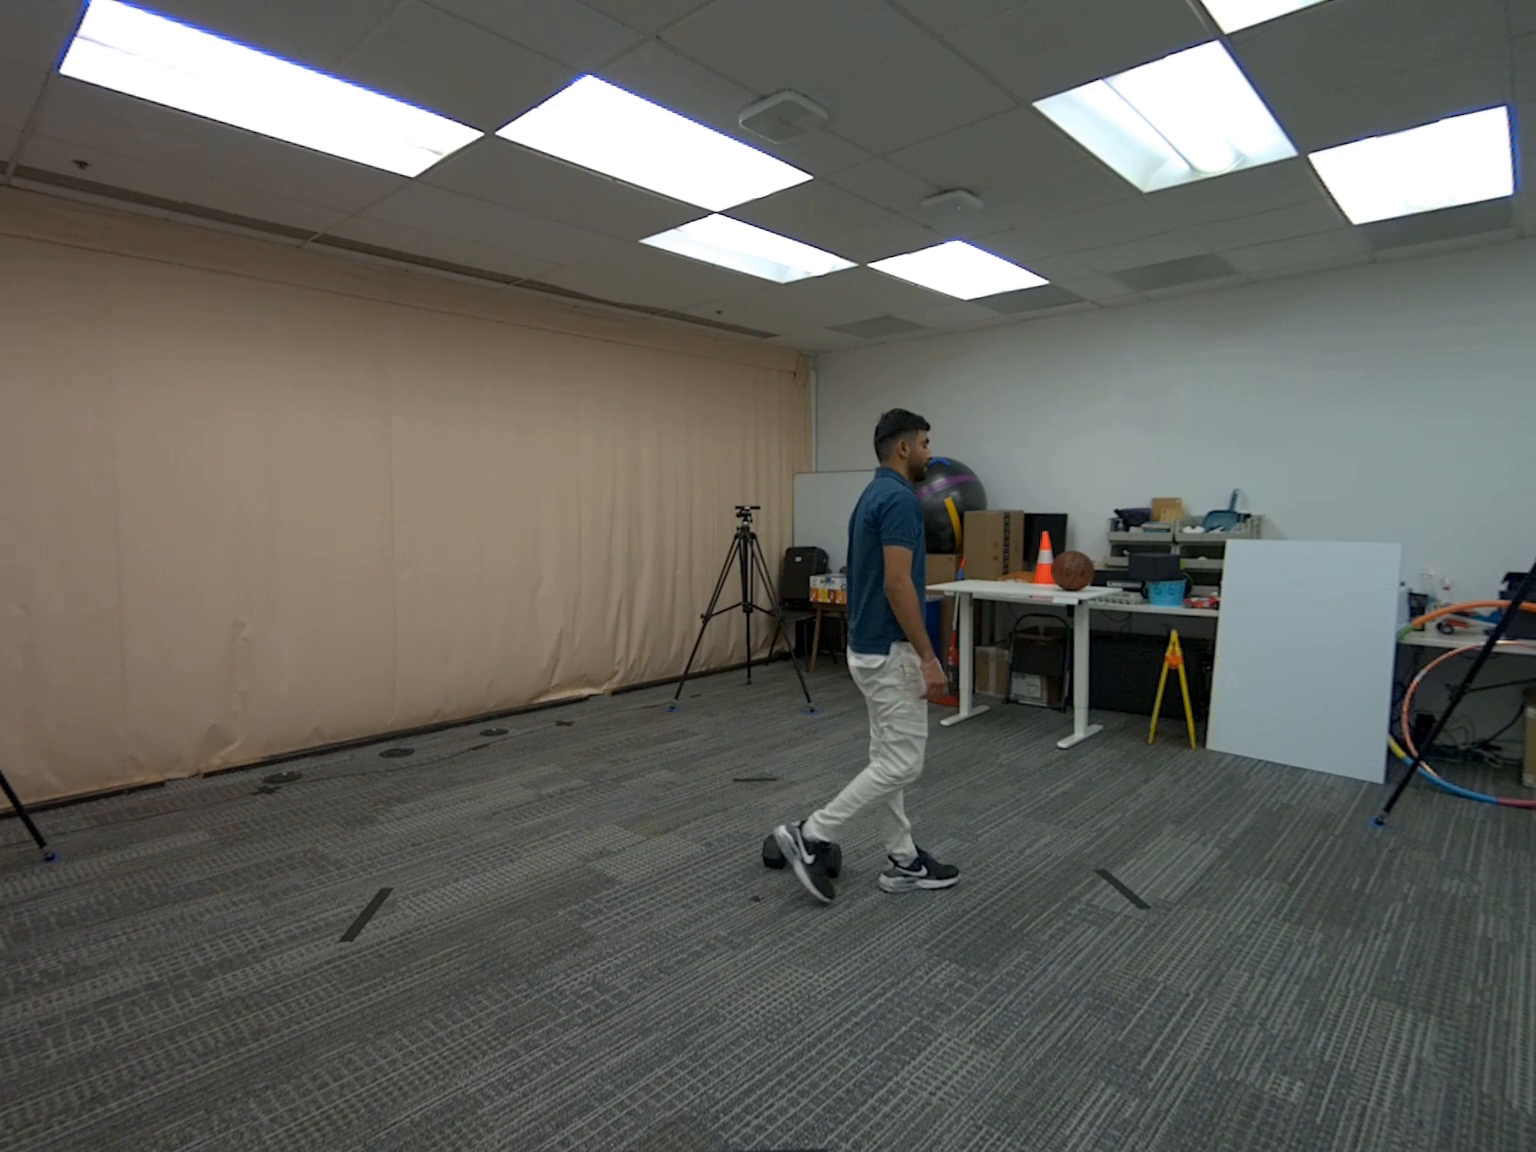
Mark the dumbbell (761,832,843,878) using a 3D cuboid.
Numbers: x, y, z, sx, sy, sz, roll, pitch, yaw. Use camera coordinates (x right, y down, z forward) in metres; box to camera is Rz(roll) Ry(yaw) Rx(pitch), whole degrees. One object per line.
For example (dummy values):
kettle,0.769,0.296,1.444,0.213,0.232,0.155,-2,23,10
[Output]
dumbbell,0.127,1.065,3.229,0.300,0.124,0.105,2,-24,20
